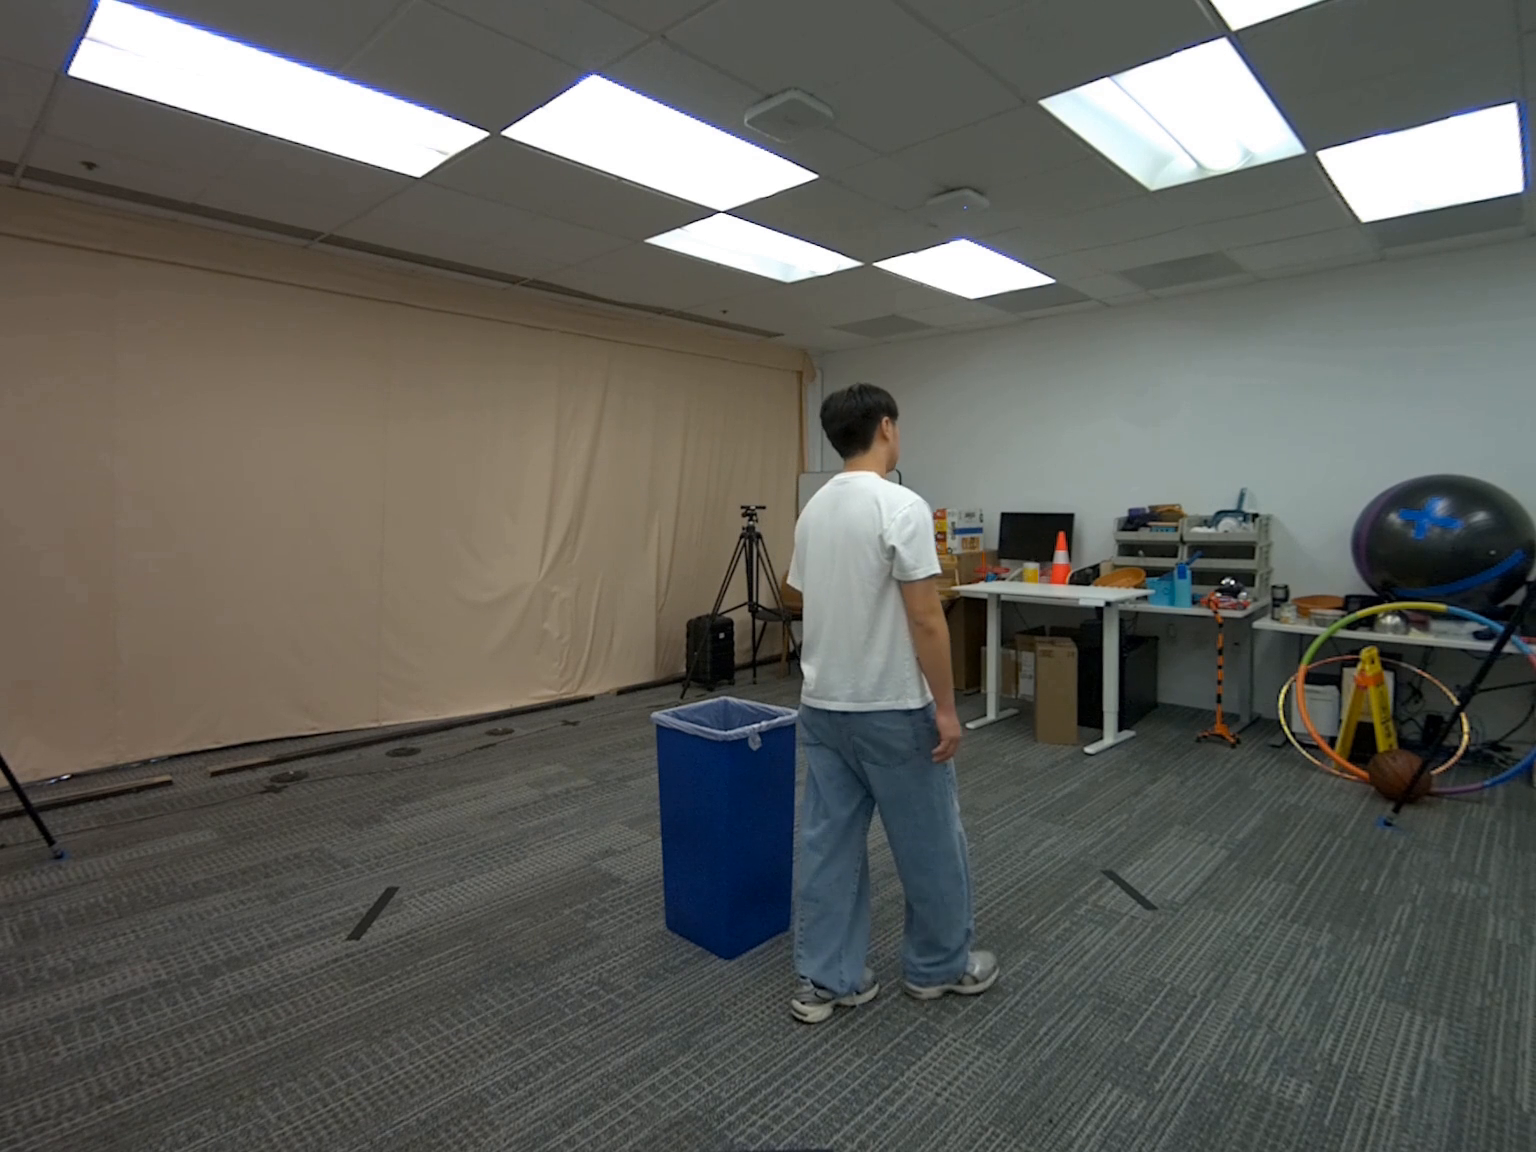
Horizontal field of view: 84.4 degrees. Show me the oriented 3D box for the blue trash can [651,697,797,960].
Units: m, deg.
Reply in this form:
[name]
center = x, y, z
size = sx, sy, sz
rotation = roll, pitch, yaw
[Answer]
[blue trash can]
center = -0.140, 0.803, 2.769
size = 0.386, 0.712, 0.366
rotation = 3, 4, 44
